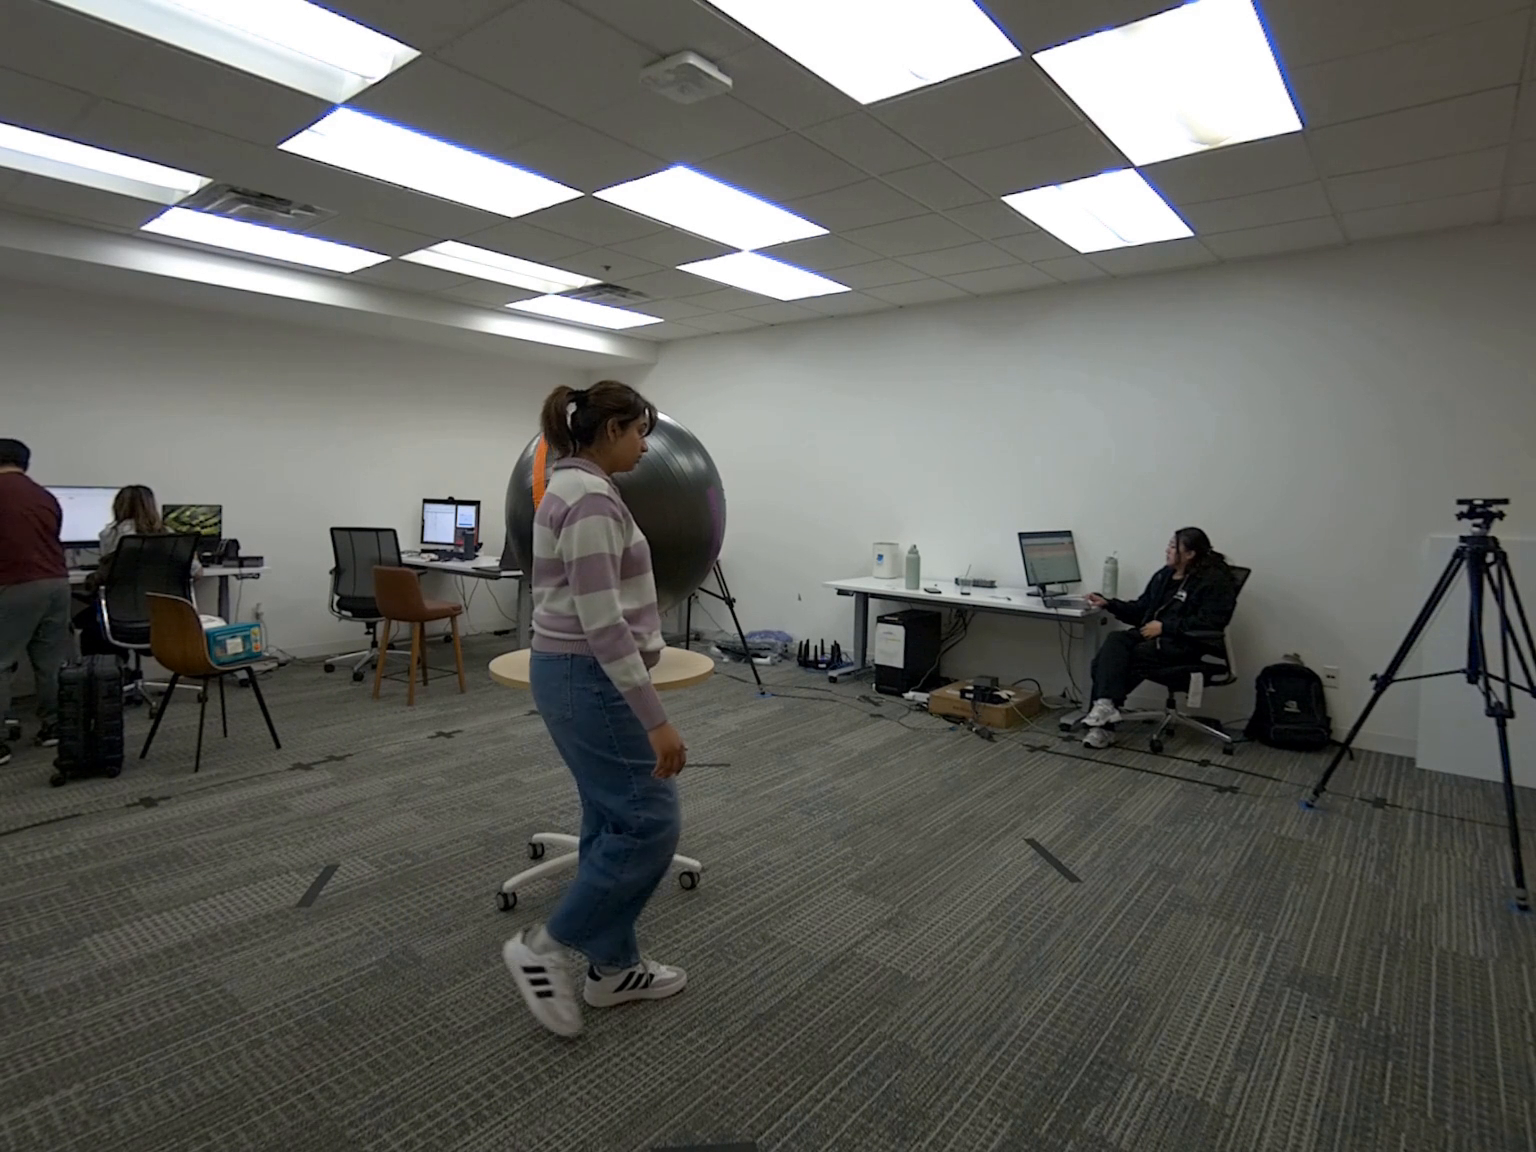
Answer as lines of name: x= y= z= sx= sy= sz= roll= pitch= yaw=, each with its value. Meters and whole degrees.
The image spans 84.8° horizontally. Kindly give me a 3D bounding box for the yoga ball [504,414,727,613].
yoga ball: x=-0.533 y=-0.214 z=2.936 sx=0.757 sy=0.755 sz=0.762 roll=1 pitch=4 yaw=-2
